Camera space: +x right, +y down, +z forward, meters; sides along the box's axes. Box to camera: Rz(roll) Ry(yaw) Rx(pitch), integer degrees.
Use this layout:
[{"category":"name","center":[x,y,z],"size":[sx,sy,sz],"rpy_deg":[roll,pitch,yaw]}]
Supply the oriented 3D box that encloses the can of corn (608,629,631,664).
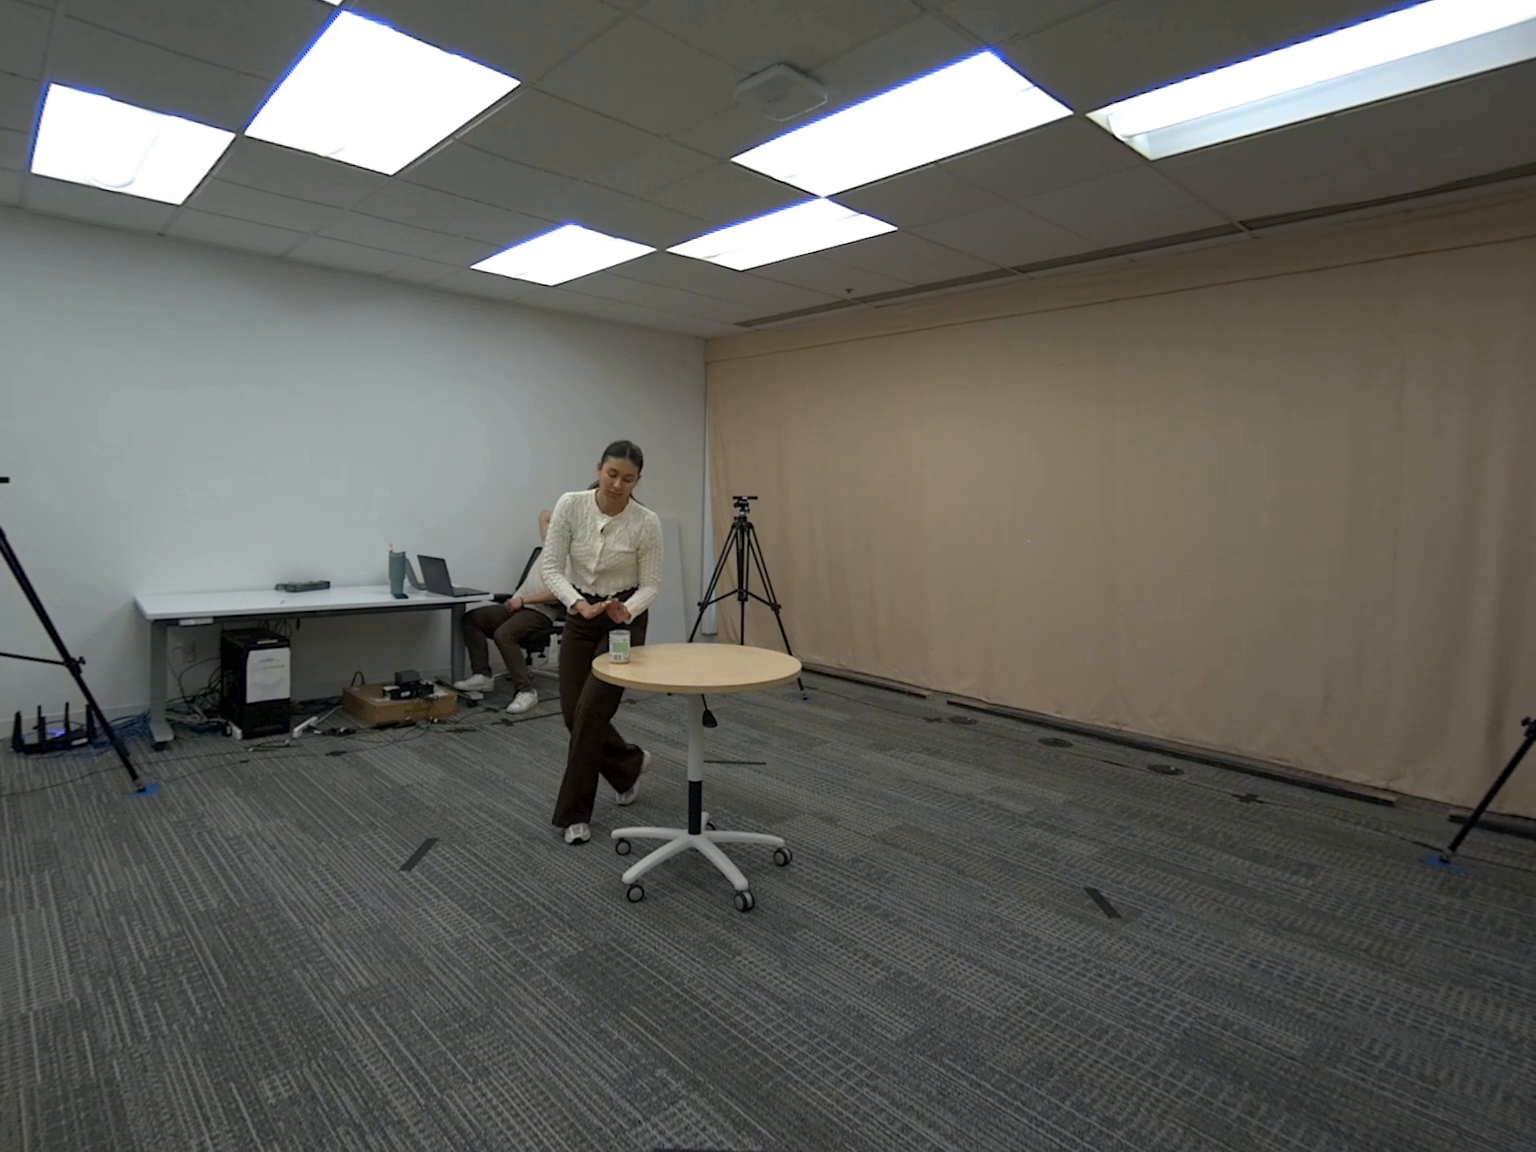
[{"category":"can of corn","center":[-0.547,0.262,3.056],"size":[0.074,0.111,0.074],"rpy_deg":[-1,4,-1]}]
